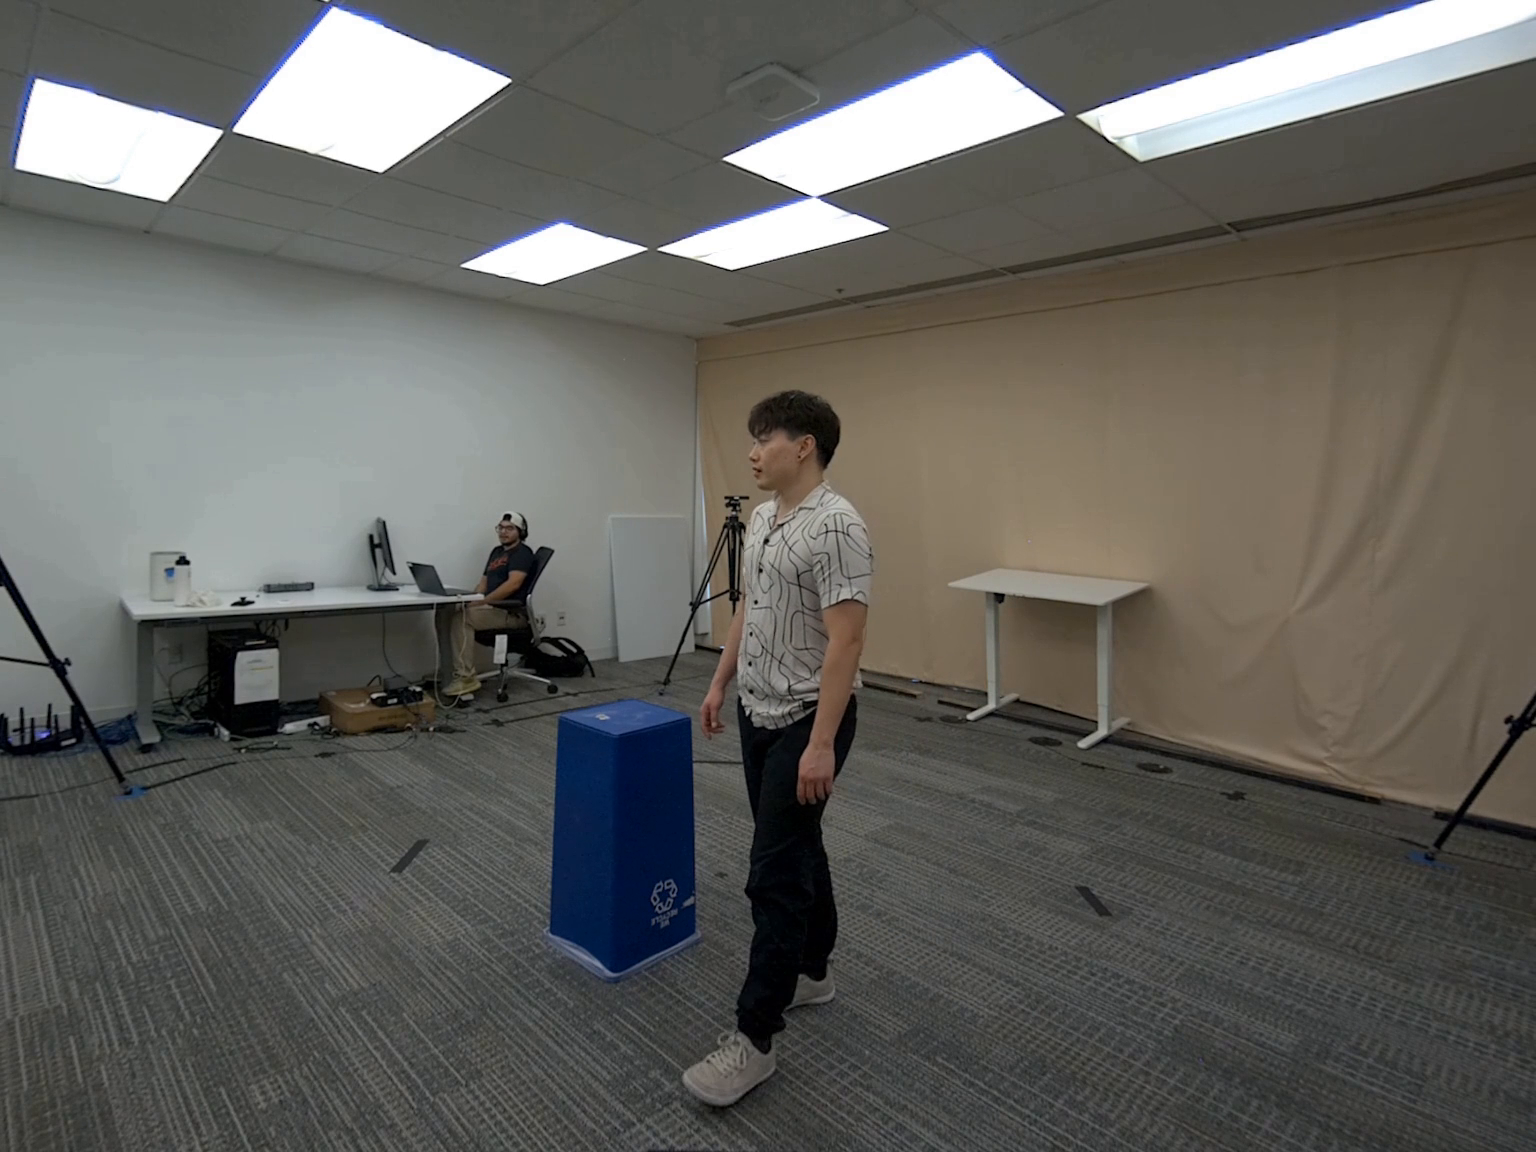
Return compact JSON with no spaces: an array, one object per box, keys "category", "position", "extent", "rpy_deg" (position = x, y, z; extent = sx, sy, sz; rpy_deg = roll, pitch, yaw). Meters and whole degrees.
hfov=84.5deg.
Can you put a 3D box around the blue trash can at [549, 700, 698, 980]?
[{"category":"blue trash can","position":[-0.463,0.790,2.621],"extent":[0.387,0.712,0.366],"rpy_deg":[4,5,43]}]
